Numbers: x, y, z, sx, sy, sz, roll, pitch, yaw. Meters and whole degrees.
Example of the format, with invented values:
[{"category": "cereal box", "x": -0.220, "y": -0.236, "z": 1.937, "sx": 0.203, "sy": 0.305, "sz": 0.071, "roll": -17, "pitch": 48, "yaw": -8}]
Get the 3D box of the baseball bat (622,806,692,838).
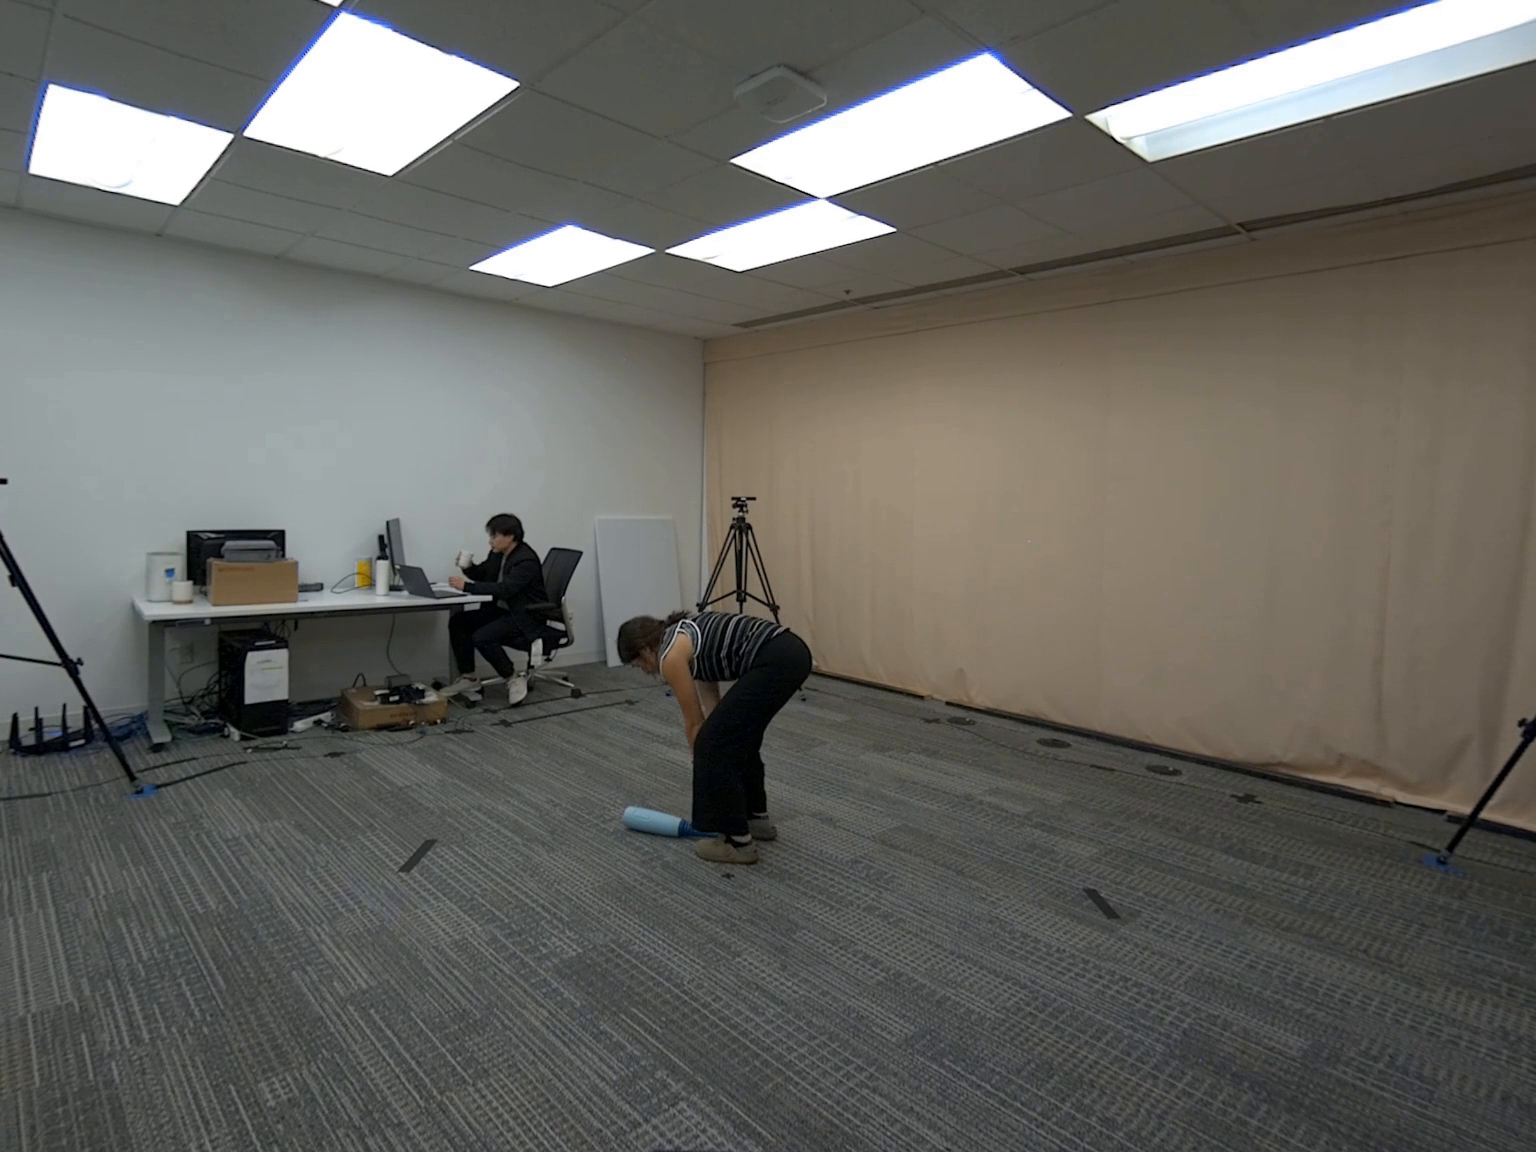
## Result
[{"category": "baseball bat", "x": -0.346, "y": 1.037, "z": 3.441, "sx": 0.551, "sy": 0.089, "sz": 0.088, "roll": 6, "pitch": 5, "yaw": 18}]
